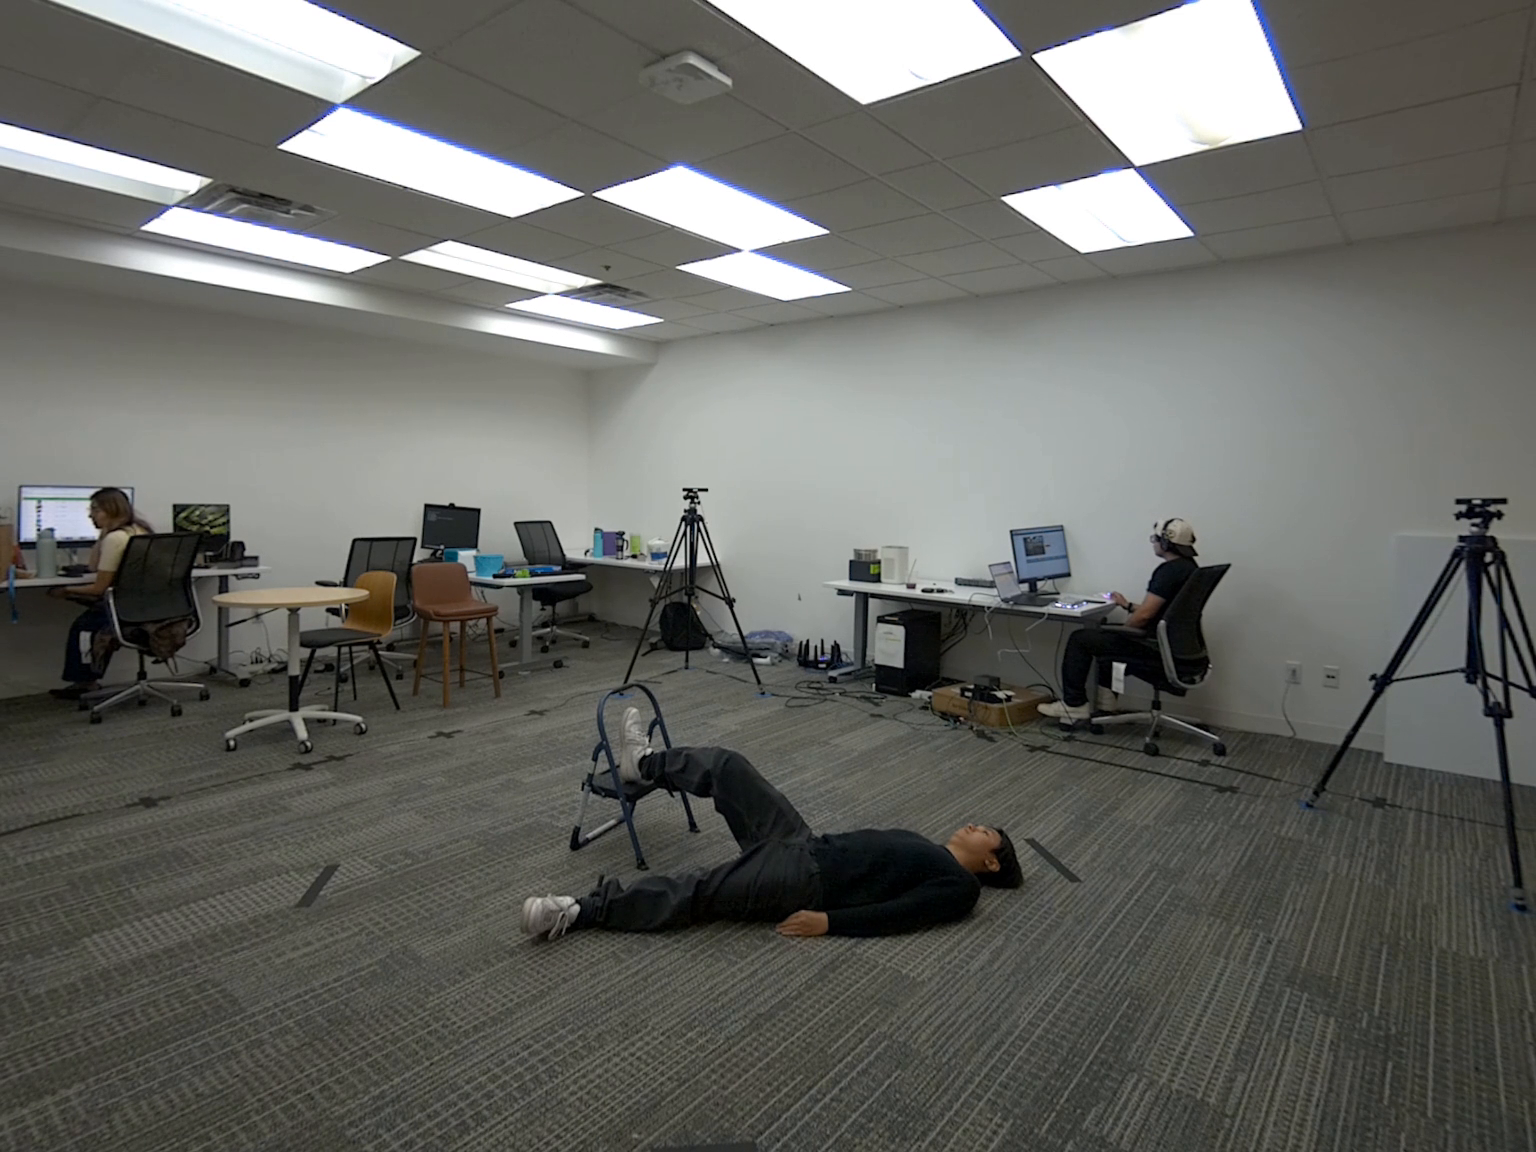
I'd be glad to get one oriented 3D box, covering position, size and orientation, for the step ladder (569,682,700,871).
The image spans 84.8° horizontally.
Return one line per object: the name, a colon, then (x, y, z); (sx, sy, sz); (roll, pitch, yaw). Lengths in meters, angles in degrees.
step ladder: (-0.526, 0.740, 3.344); (0.358, 0.604, 0.421); (3, 4, 25)
